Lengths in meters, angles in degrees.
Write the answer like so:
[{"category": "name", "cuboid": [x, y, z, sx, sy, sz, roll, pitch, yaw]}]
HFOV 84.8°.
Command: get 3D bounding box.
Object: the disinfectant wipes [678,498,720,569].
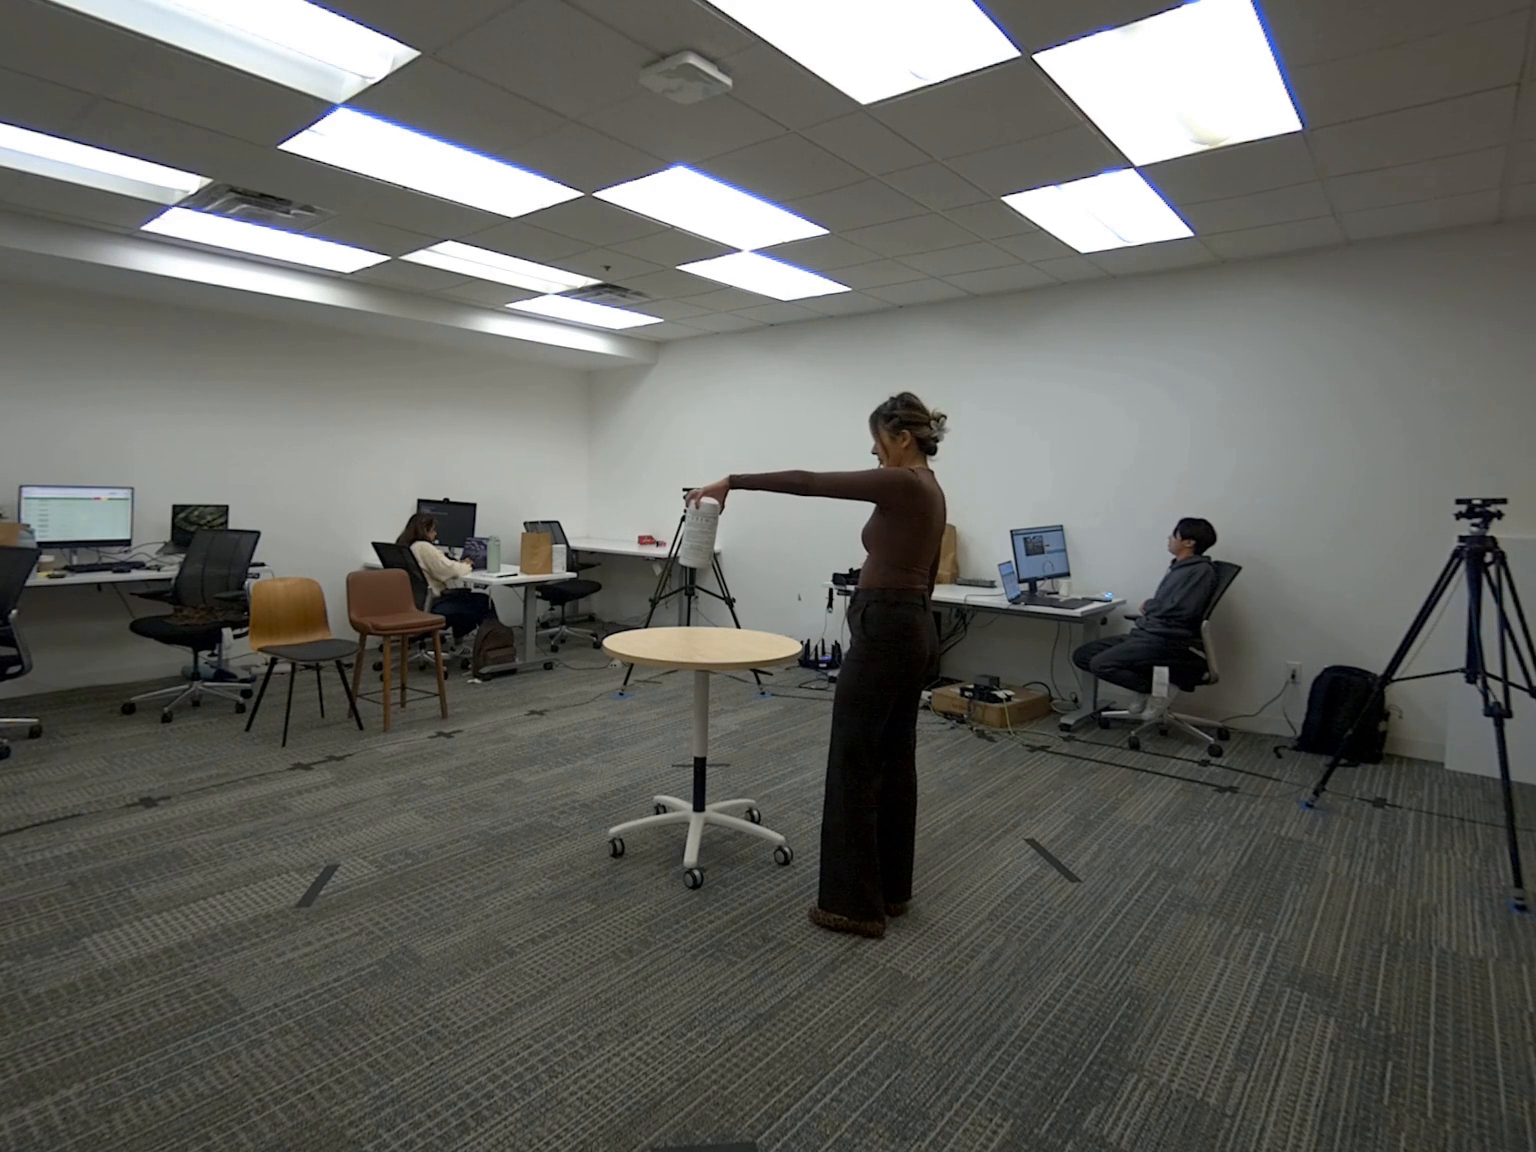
[{"category": "disinfectant wipes", "cuboid": [-0.232, -0.143, 2.793, 0.117, 0.216, 0.119, 8, 8, -3]}]
